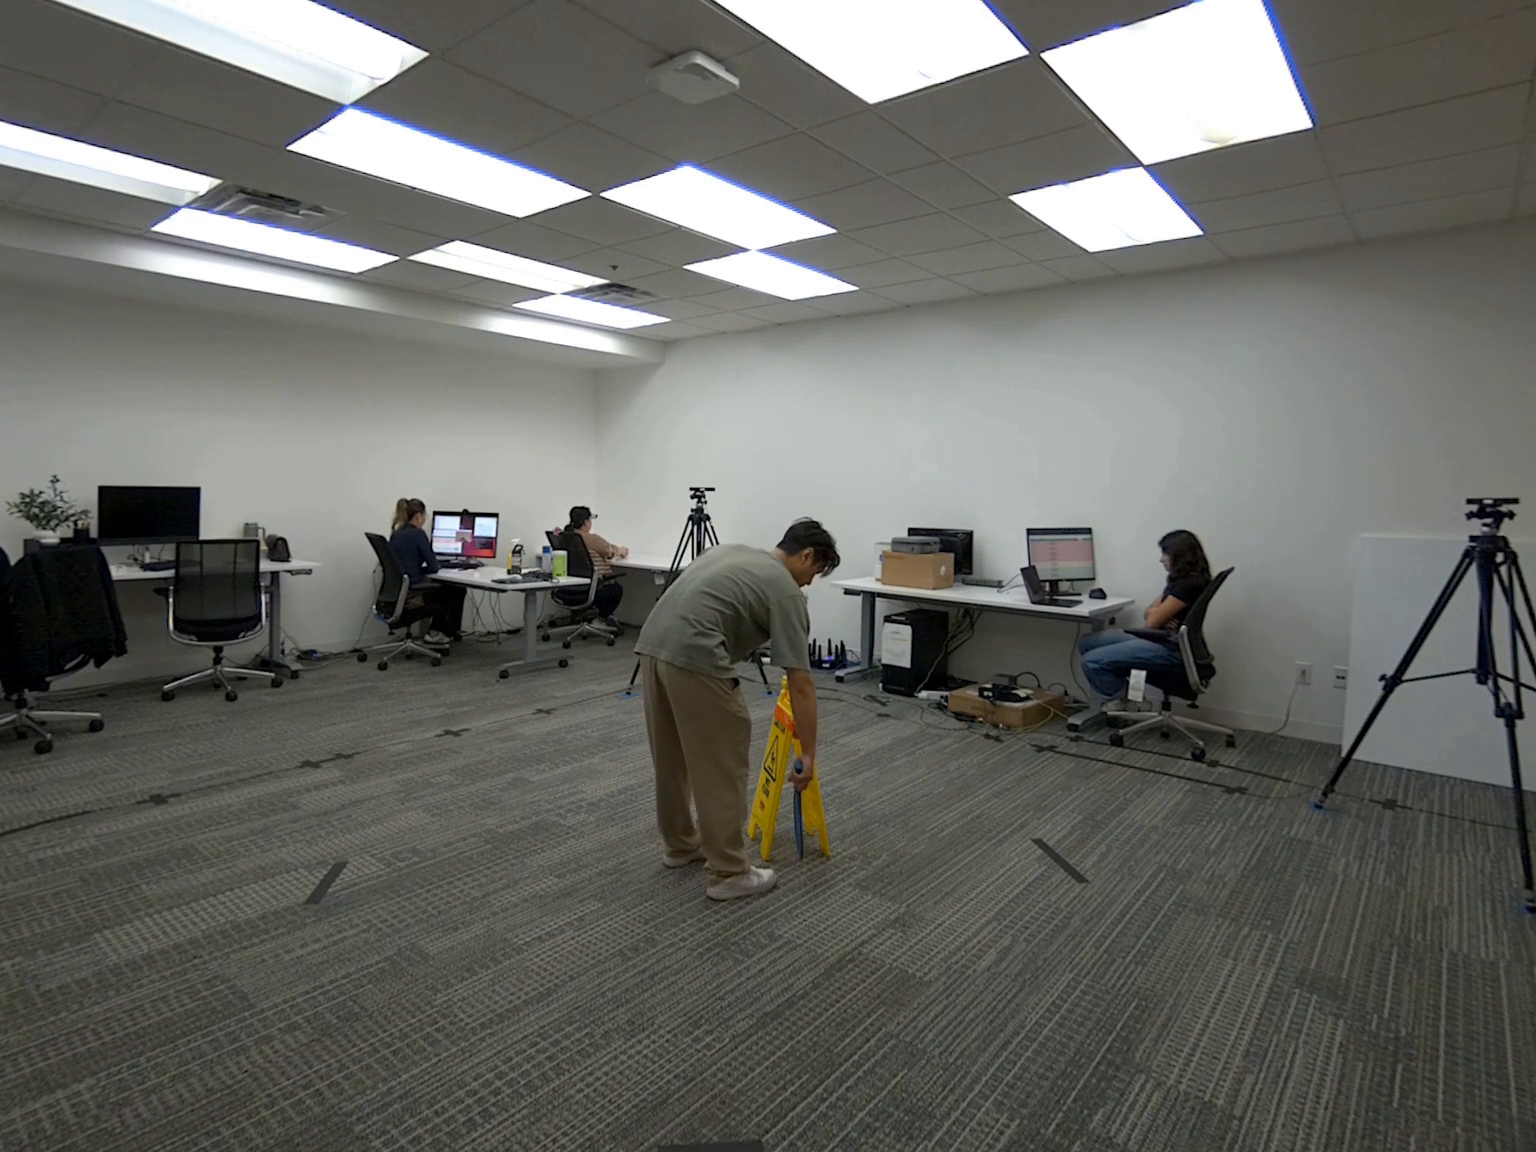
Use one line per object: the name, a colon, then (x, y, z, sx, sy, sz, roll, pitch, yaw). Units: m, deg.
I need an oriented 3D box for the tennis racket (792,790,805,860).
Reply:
tennis racket: (0.066, 0.831, 2.996, 0.031, 0.424, 0.219, -6, 21, -7)
